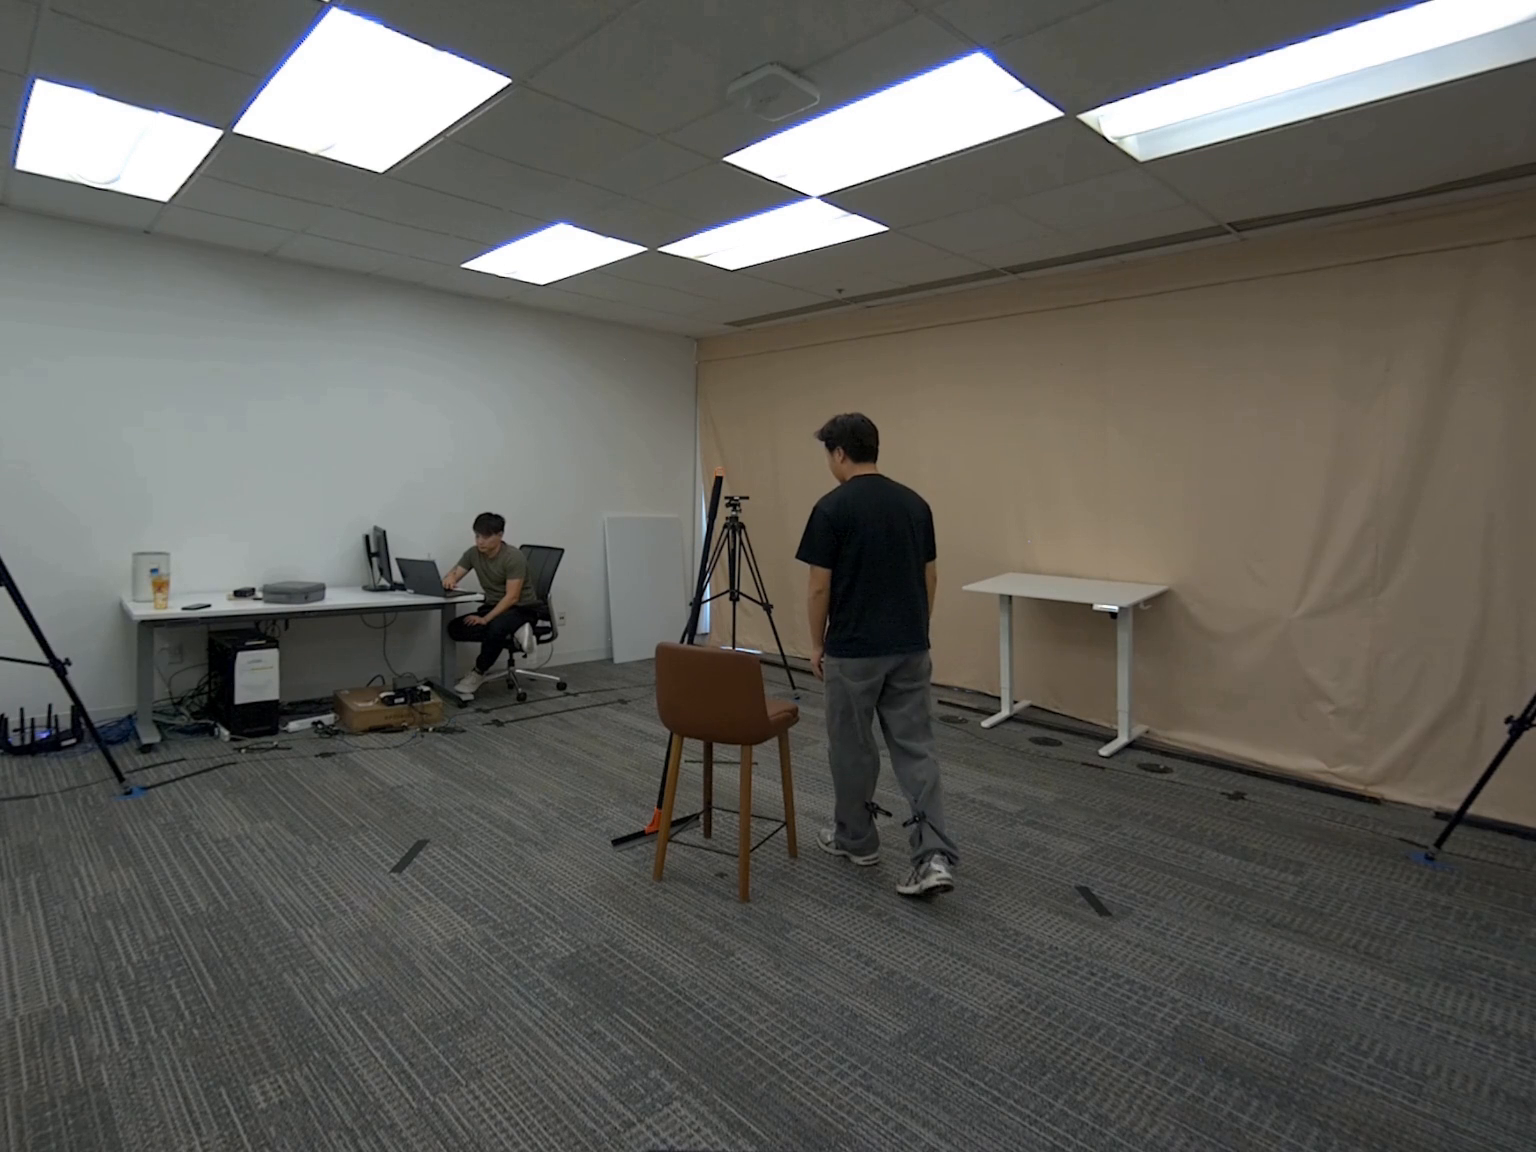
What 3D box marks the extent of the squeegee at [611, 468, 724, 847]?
[{"bbox_3d":[-0.320,0.335,3.264,0.427,1.525,0.054,-2,18,-41],"label":"squeegee"}]
